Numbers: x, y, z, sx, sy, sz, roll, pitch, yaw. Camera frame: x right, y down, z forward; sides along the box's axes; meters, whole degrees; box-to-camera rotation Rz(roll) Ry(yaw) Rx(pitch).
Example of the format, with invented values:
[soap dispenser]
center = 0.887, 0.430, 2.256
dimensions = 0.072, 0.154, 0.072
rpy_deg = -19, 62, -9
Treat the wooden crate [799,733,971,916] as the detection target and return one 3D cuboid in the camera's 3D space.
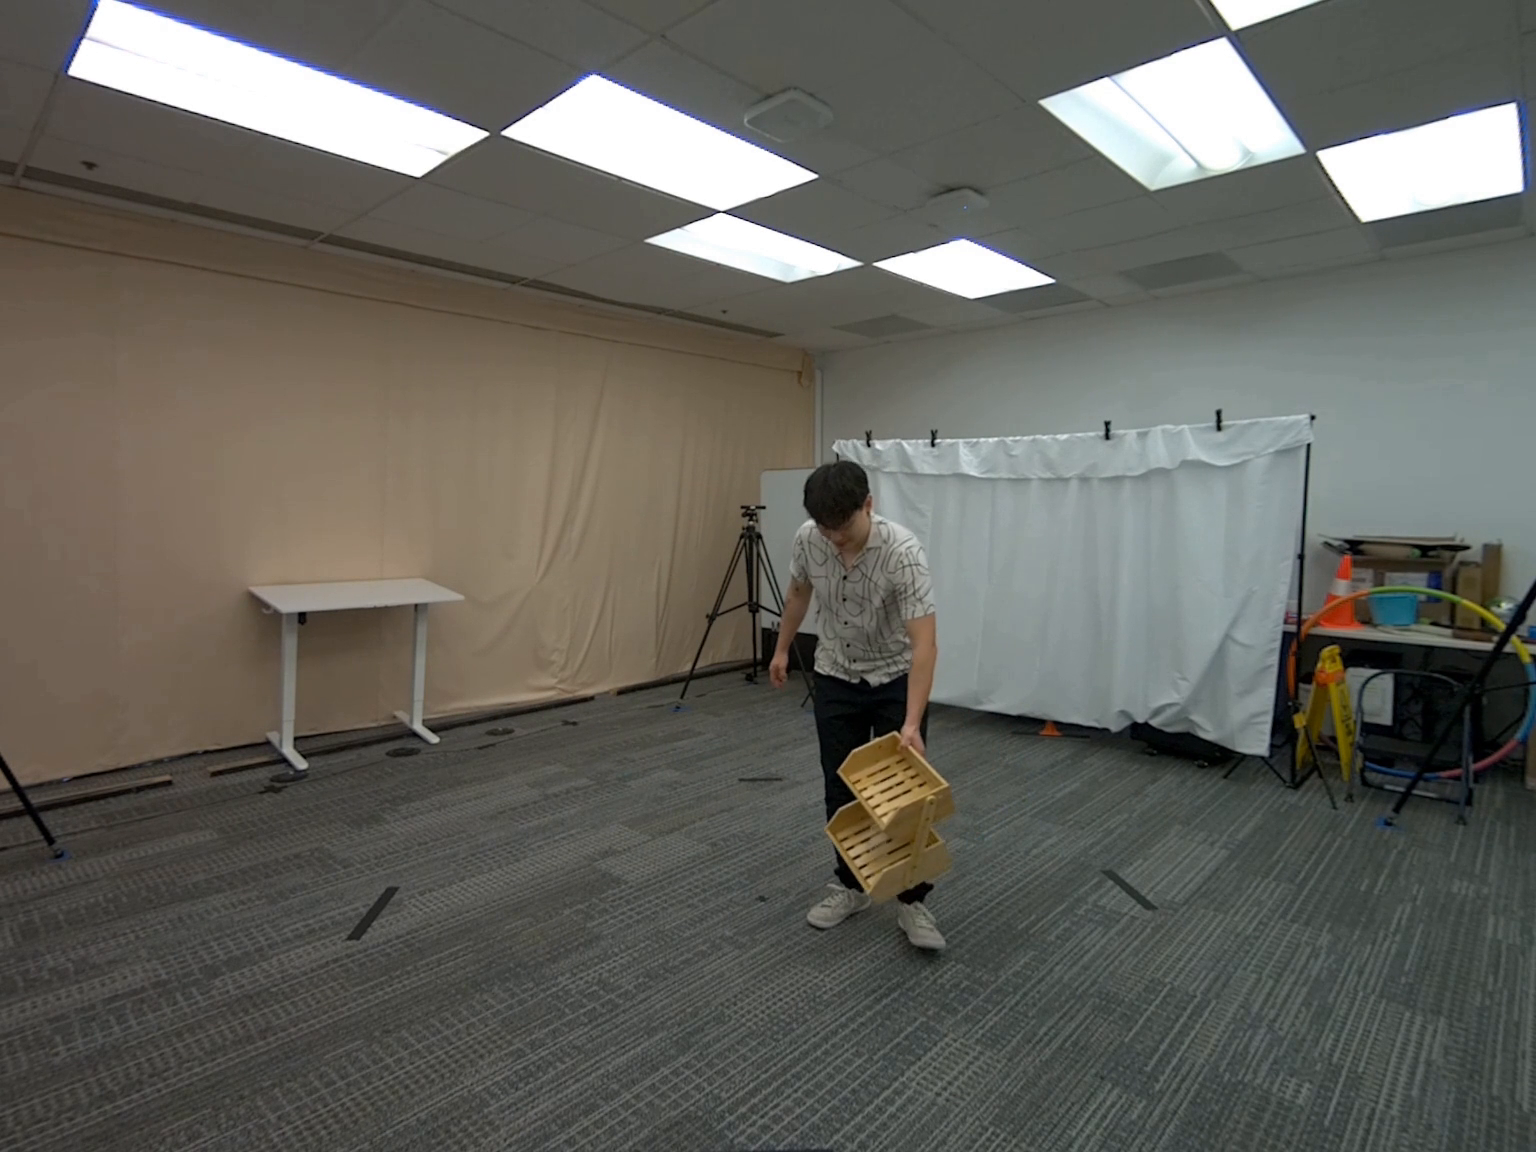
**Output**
[wooden crate]
center = 0.320, 0.674, 2.375
dimensions = 0.299, 0.268, 0.334
rpy_deg = -23, 23, -14
